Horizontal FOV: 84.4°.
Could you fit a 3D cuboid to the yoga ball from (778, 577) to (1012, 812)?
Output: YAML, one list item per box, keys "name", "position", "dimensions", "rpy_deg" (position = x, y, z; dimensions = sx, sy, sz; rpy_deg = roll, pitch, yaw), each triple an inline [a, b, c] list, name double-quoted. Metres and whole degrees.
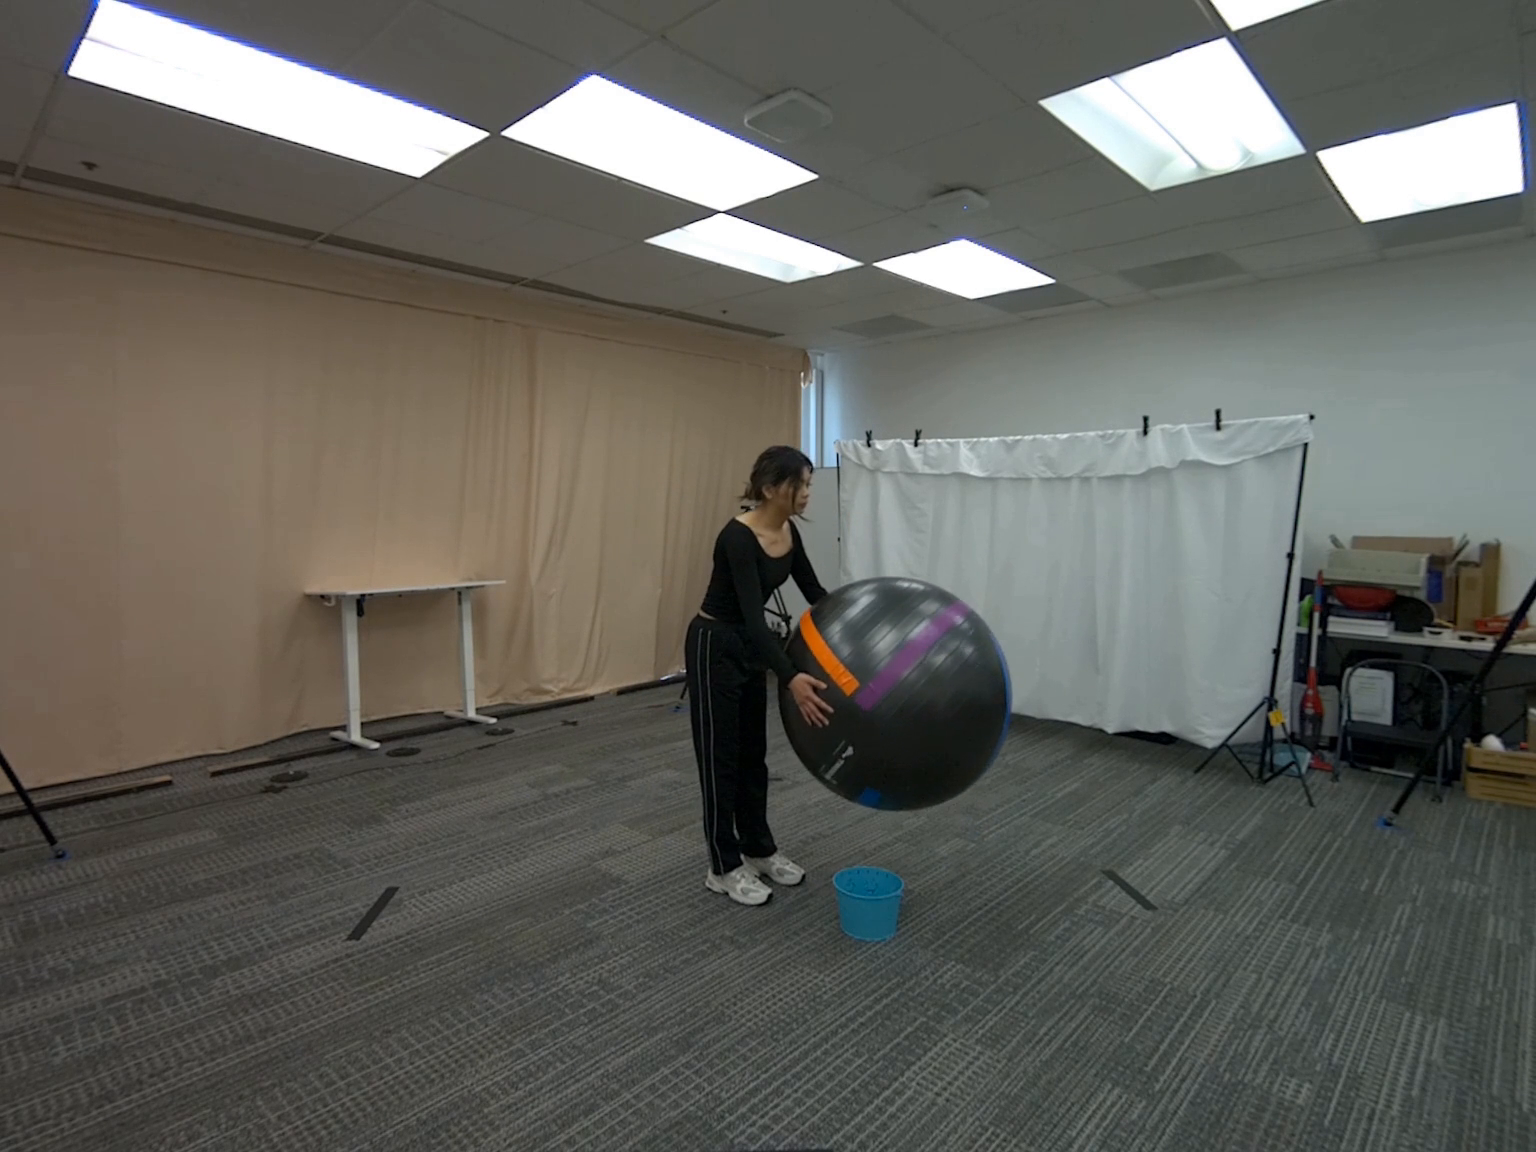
- name: "yoga ball"
  position: [0.421, 0.386, 2.777]
  dimensions: [0.757, 0.756, 0.760]
  rpy_deg: [0, 4, -2]
